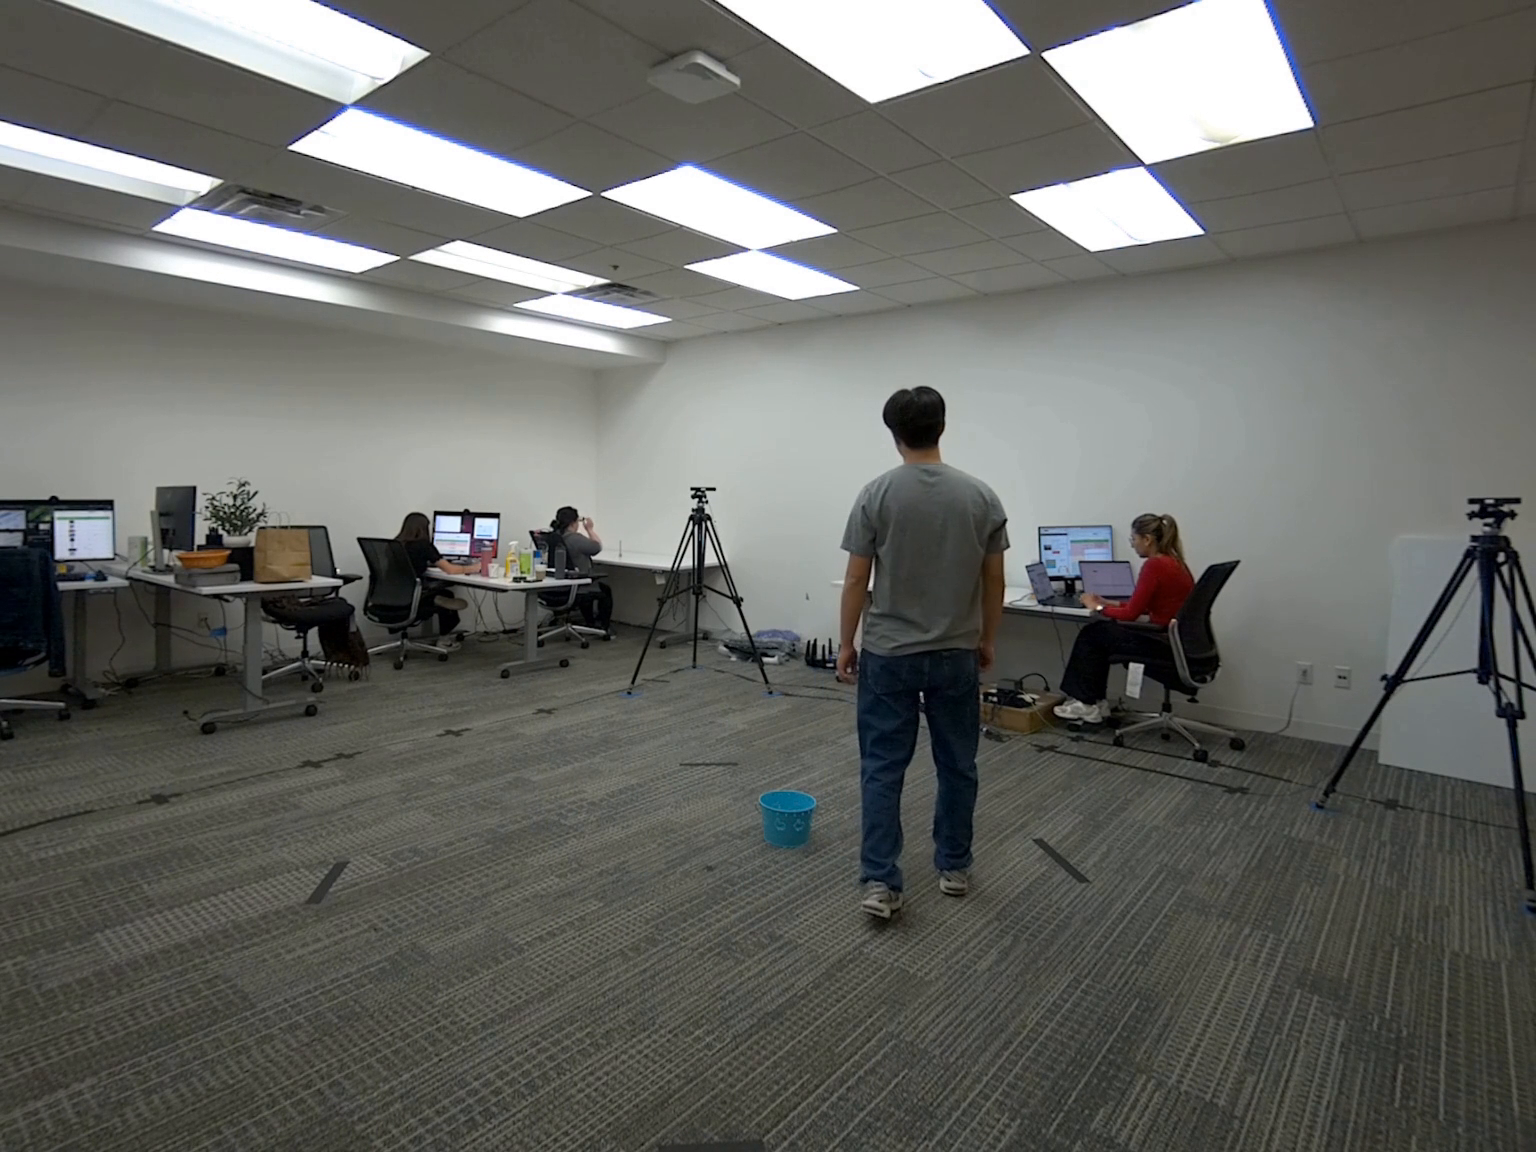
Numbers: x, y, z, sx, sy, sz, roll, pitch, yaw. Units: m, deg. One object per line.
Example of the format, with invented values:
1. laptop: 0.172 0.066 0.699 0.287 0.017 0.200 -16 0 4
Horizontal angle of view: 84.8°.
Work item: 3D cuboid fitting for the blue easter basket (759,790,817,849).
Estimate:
1. blue easter basket: 0.071 0.965 3.397 0.243 0.155 0.245 1 5 -2
